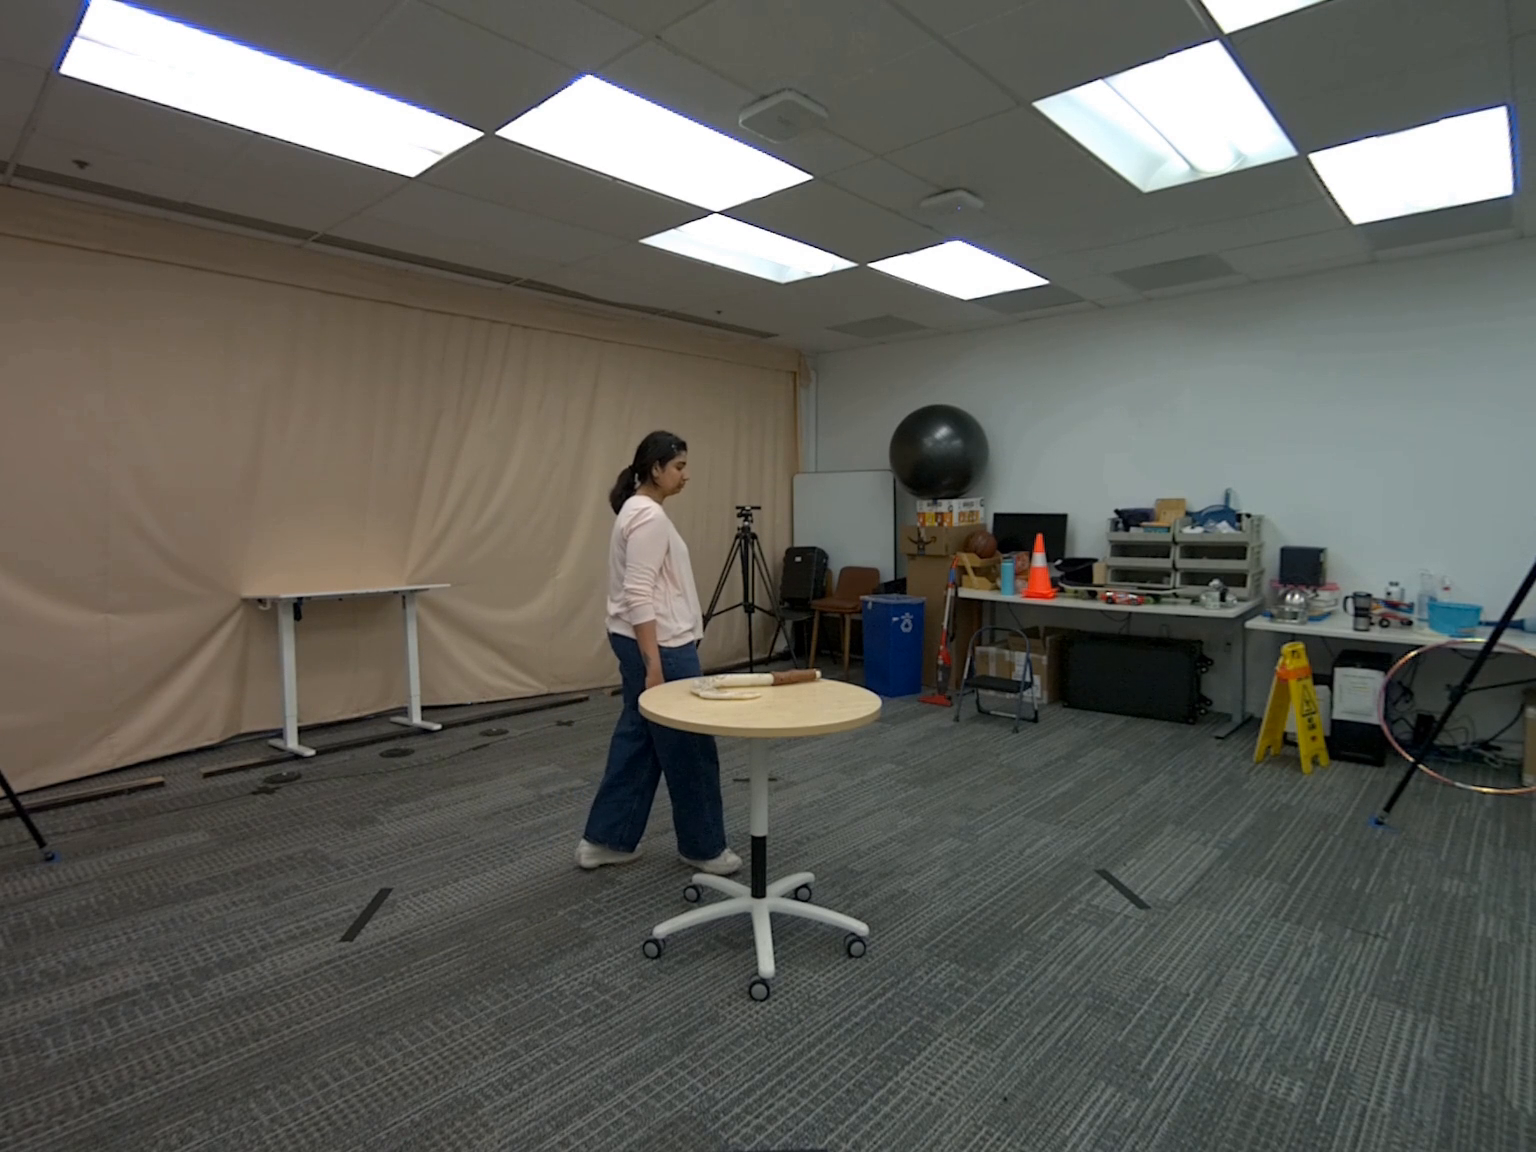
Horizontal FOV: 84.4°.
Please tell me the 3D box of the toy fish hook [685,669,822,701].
[{"bbox_3d":[-0.004,0.363,2.794,0.494,0.048,0.231,-3,10,-25],"label":"toy fish hook"}]
